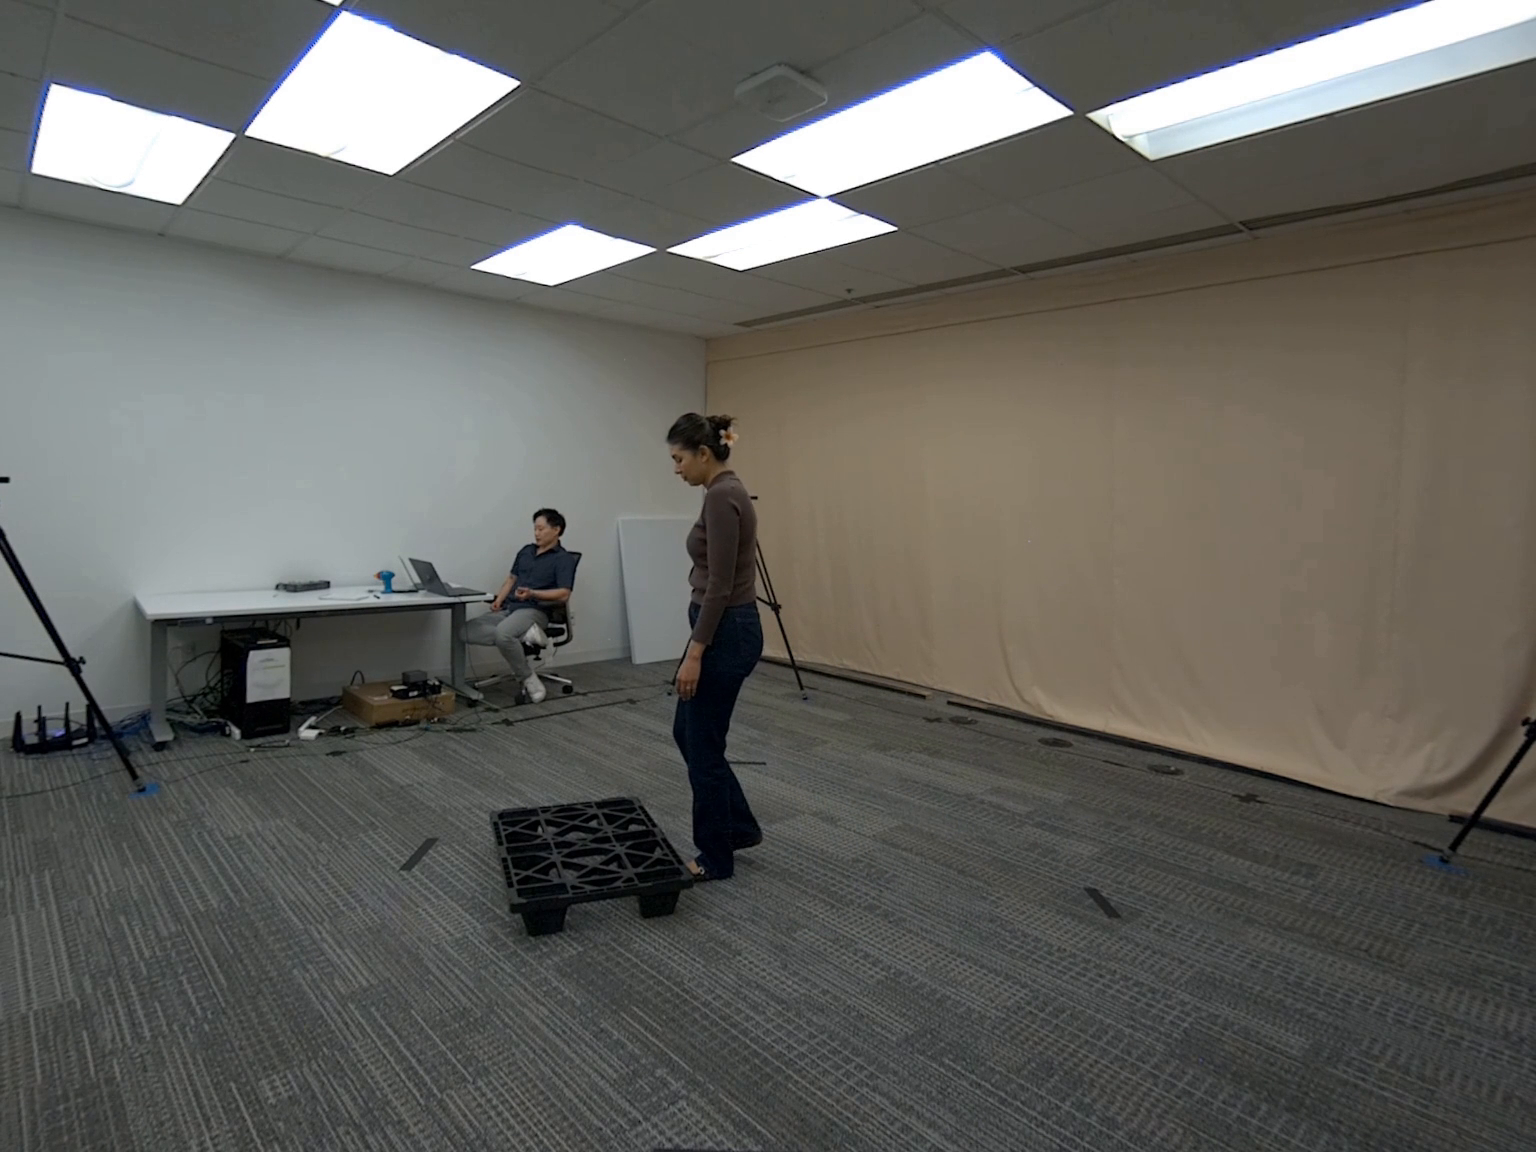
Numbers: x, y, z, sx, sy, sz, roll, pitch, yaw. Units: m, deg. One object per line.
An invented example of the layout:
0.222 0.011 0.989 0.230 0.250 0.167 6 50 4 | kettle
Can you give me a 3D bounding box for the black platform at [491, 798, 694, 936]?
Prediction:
-0.676 1.030 3.056 0.595 0.143 0.821 0 6 -22 | black platform
